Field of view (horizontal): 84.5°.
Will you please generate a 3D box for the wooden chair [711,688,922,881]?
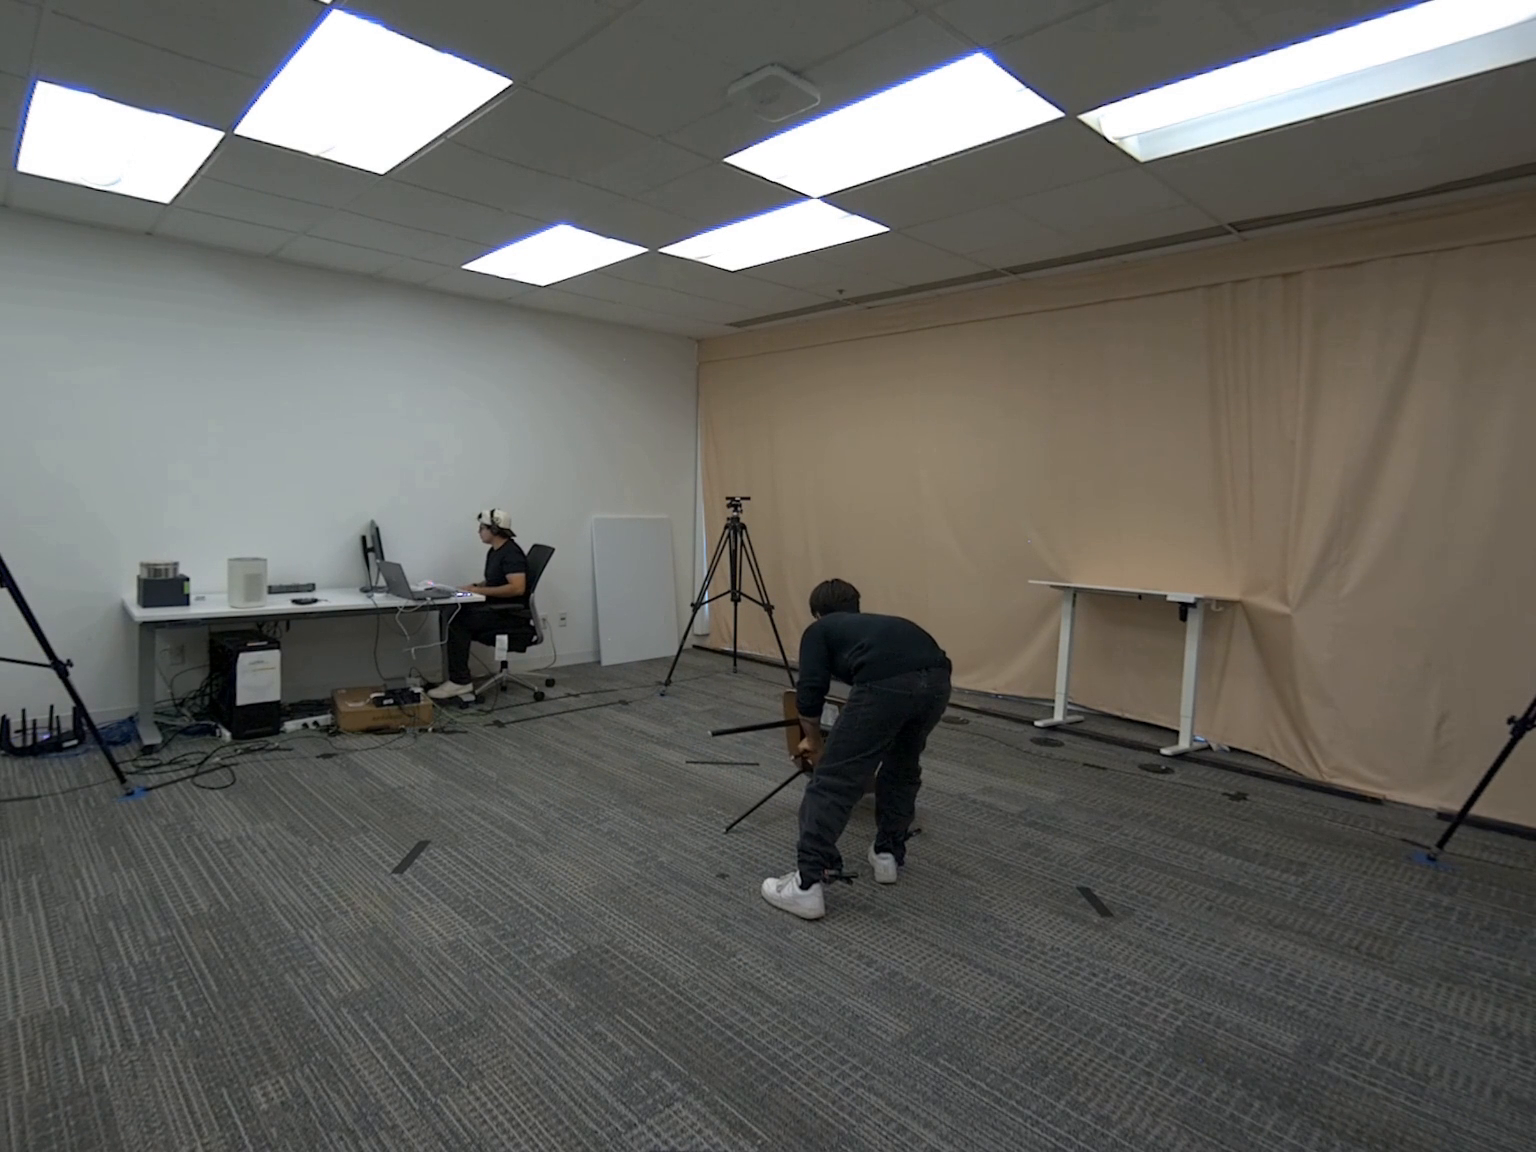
[{"bbox_3d":[0.229,0.750,3.595,0.490,0.519,0.862,4,14,43],"label":"wooden chair"}]
